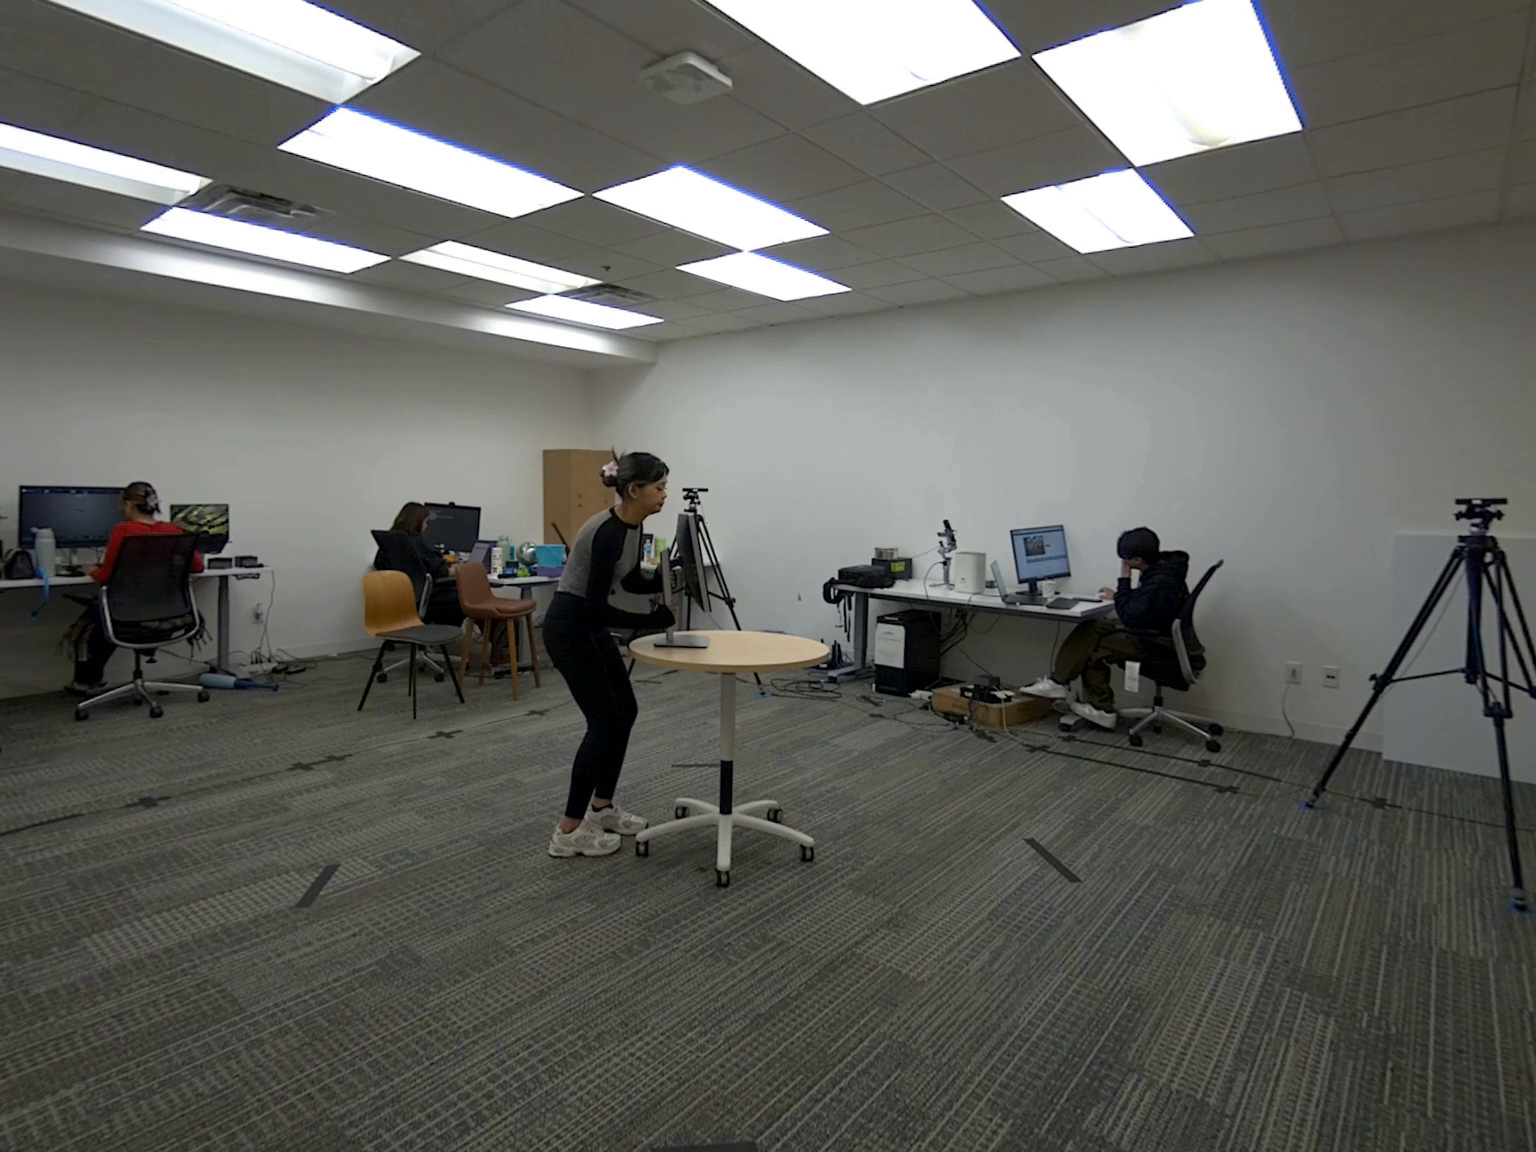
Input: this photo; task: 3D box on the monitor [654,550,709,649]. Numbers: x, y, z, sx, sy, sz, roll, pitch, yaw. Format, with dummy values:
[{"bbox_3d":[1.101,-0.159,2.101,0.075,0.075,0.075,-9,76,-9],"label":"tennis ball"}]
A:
[{"bbox_3d":[-0.343,0.015,3.299,0.185,0.522,0.546,1,3,-11],"label":"monitor"}]
